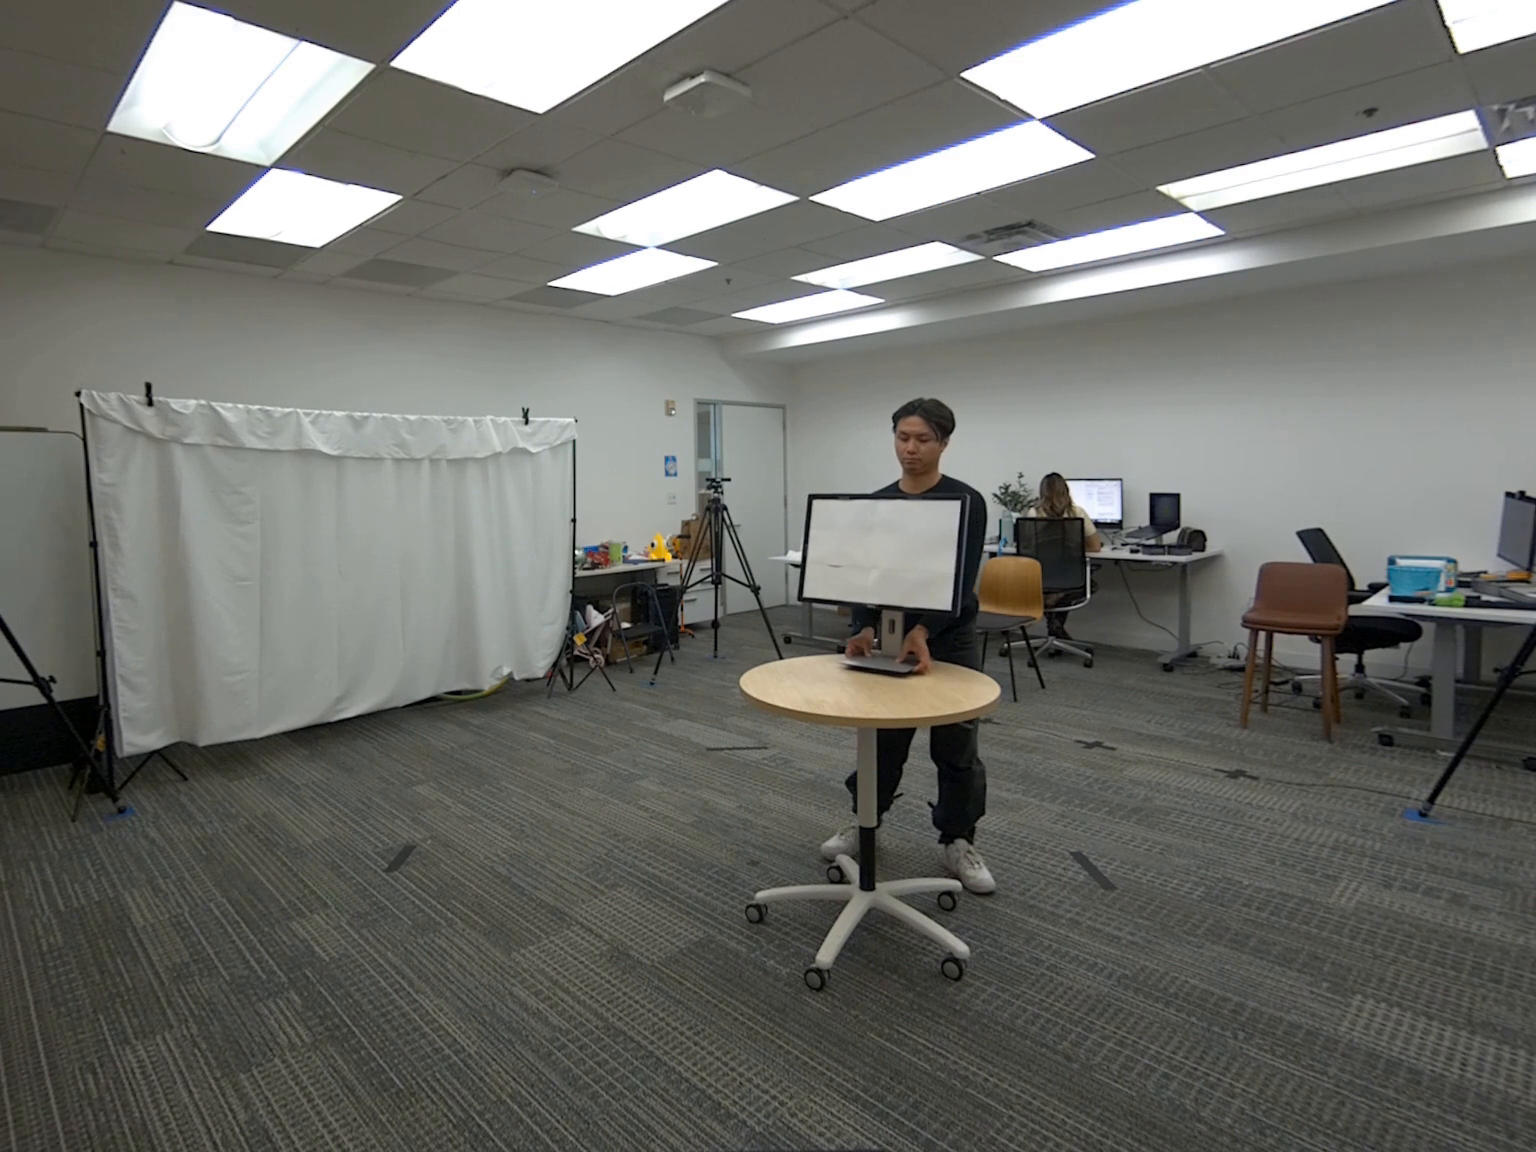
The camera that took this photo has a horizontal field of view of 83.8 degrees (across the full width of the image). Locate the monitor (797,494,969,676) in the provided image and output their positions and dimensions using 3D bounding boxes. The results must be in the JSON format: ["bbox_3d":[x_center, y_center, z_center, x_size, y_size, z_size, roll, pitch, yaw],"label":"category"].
[{"bbox_3d":[0.370,0.009,2.714,0.555,0.520,0.182,4,6,36],"label":"monitor"}]
